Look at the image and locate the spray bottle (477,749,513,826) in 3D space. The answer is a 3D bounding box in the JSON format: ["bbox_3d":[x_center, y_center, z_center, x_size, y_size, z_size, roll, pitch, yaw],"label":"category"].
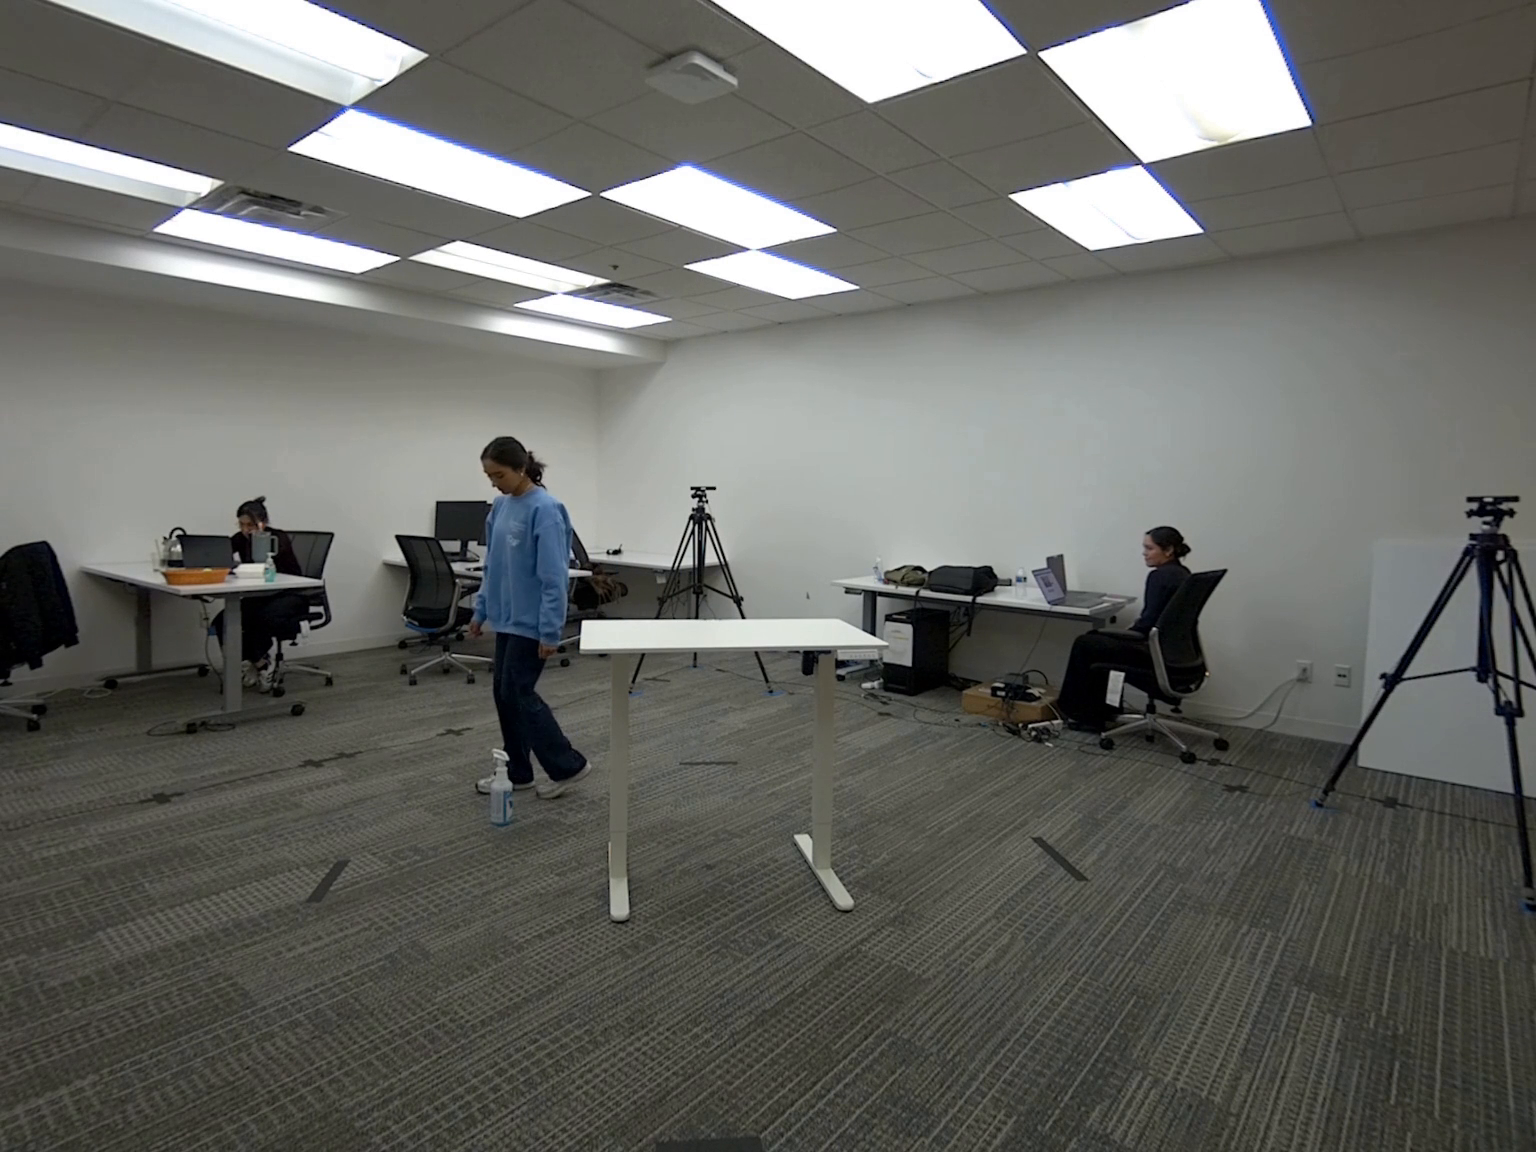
[{"bbox_3d":[-1.117,0.868,3.499,0.085,0.296,0.093,-2,4,-32],"label":"spray bottle"}]
